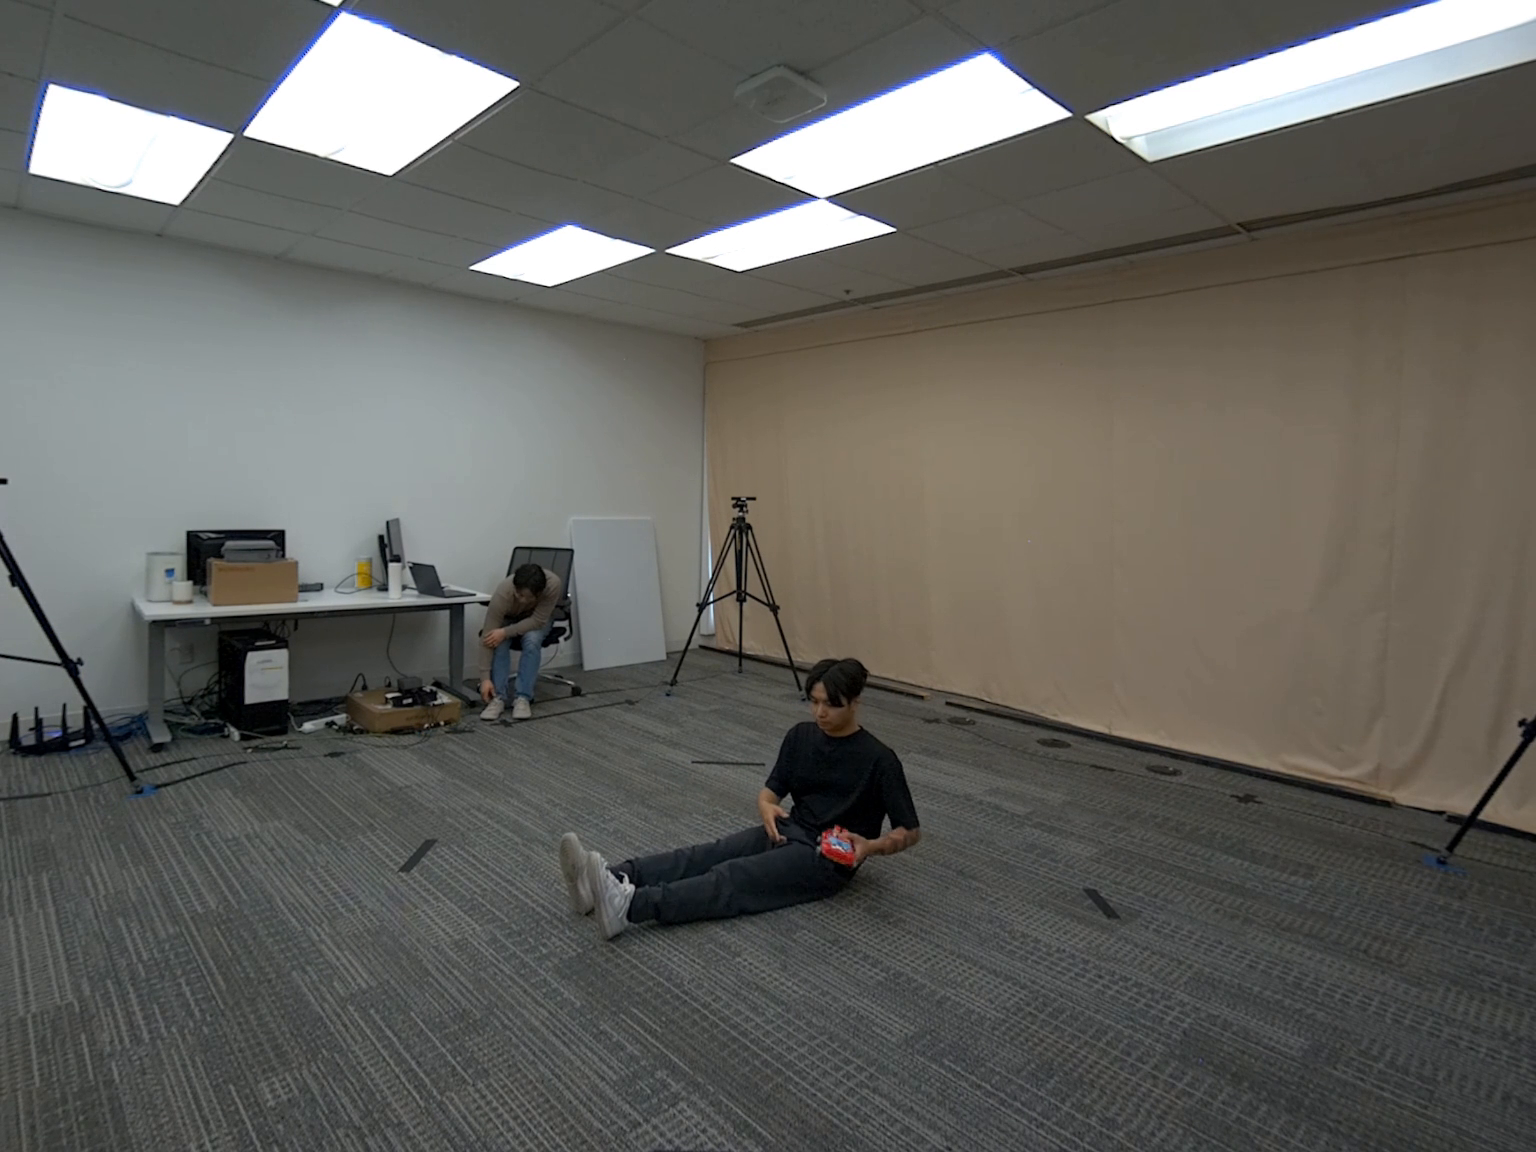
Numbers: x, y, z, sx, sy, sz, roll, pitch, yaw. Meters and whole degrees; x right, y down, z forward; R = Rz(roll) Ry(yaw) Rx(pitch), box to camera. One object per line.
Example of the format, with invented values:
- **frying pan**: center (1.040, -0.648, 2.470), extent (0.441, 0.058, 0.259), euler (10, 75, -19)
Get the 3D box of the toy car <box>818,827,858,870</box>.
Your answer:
- **toy car**: center (0.214, 0.889, 2.757), extent (0.131, 0.083, 0.253), euler (21, 7, 7)
